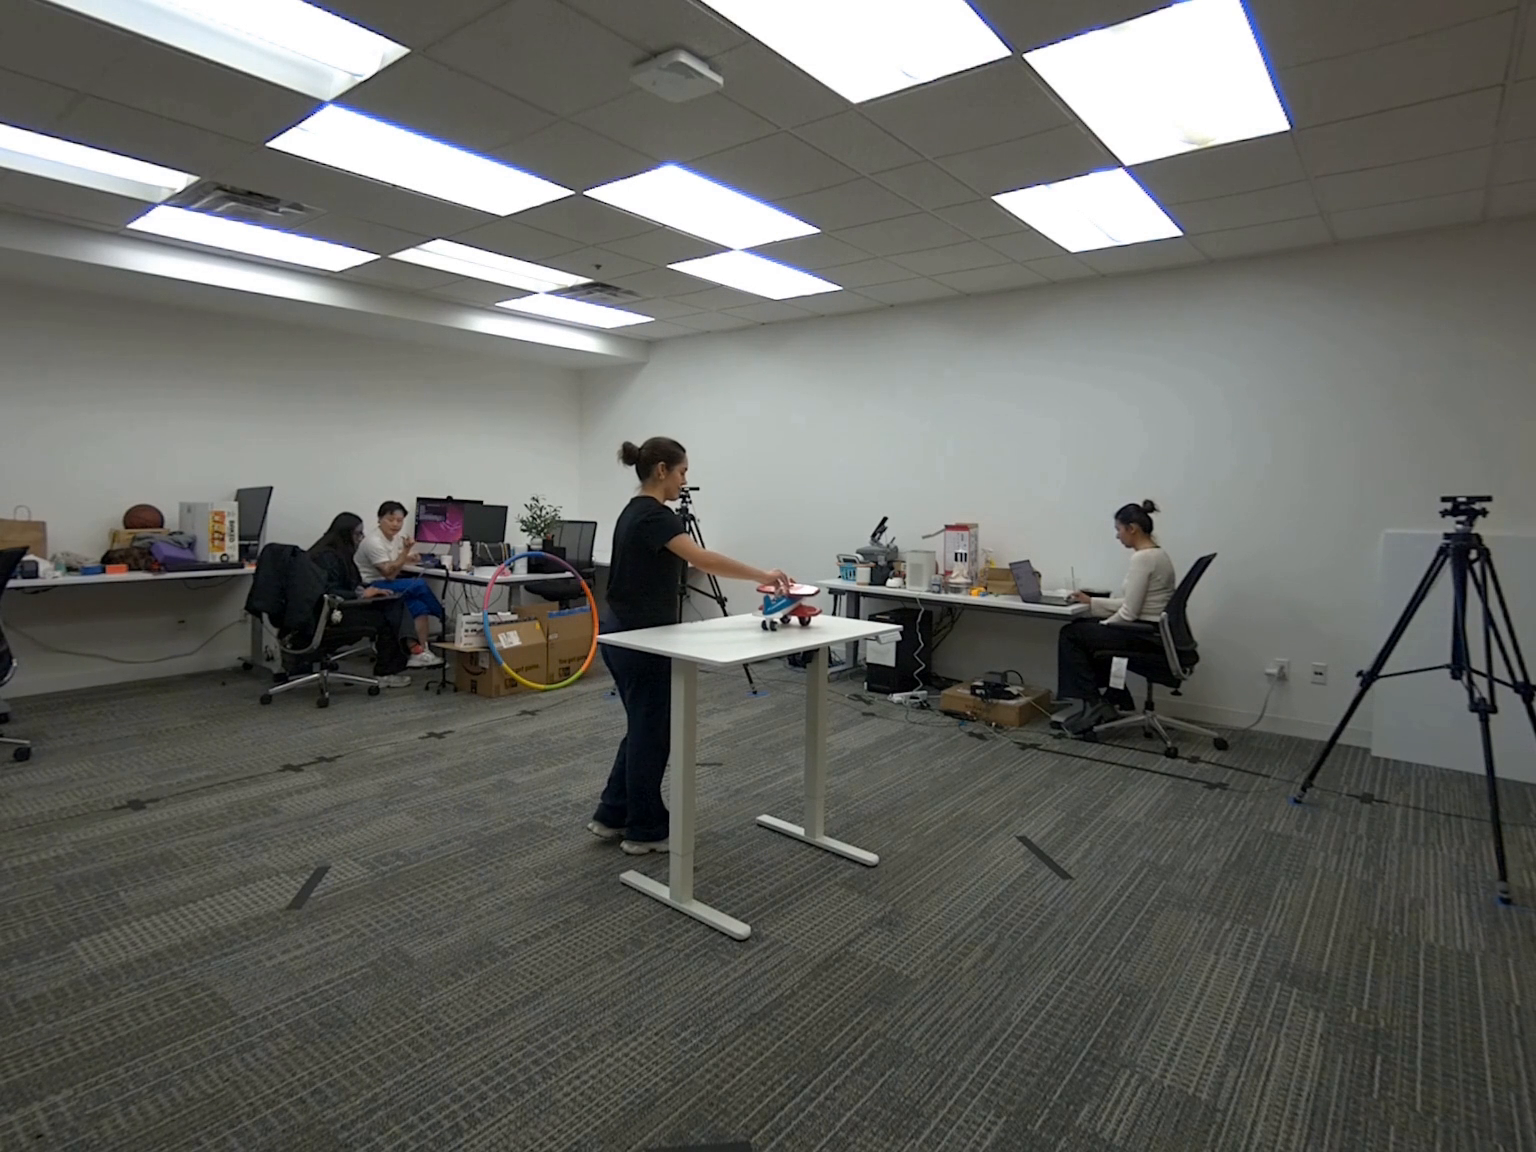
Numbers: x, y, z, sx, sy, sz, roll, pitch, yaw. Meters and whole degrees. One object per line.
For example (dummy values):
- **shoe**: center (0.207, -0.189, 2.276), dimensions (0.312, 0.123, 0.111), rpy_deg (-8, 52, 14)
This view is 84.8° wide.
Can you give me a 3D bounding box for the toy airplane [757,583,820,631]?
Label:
- **toy airplane**: center (0.094, 0.110, 3.139), dimensions (0.253, 0.156, 0.258), rpy_deg (2, 4, 7)
